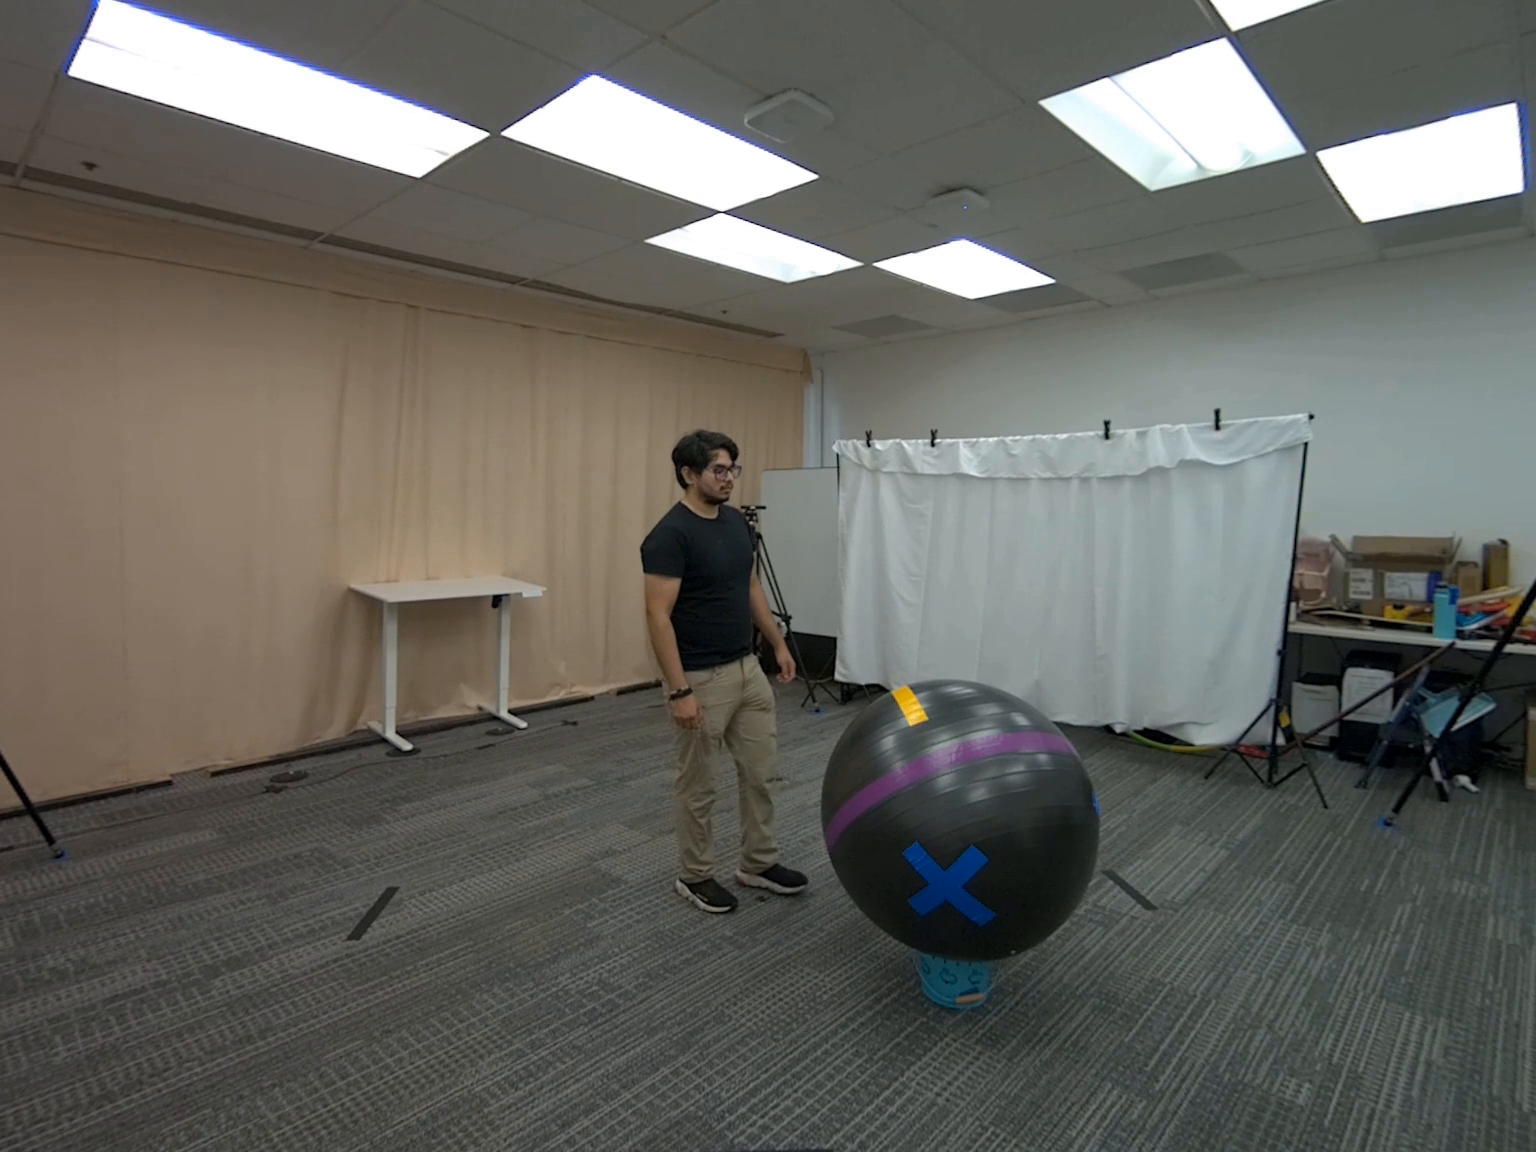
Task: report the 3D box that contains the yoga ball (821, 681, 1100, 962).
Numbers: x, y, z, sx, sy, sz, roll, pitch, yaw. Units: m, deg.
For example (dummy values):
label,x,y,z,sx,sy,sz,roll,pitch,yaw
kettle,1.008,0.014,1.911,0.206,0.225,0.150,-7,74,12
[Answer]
label,x,y,z,sx,sy,sz,roll,pitch,yaw
yoga ball,0.535,0.682,2.402,0.757,0.756,0.760,0,4,-2
